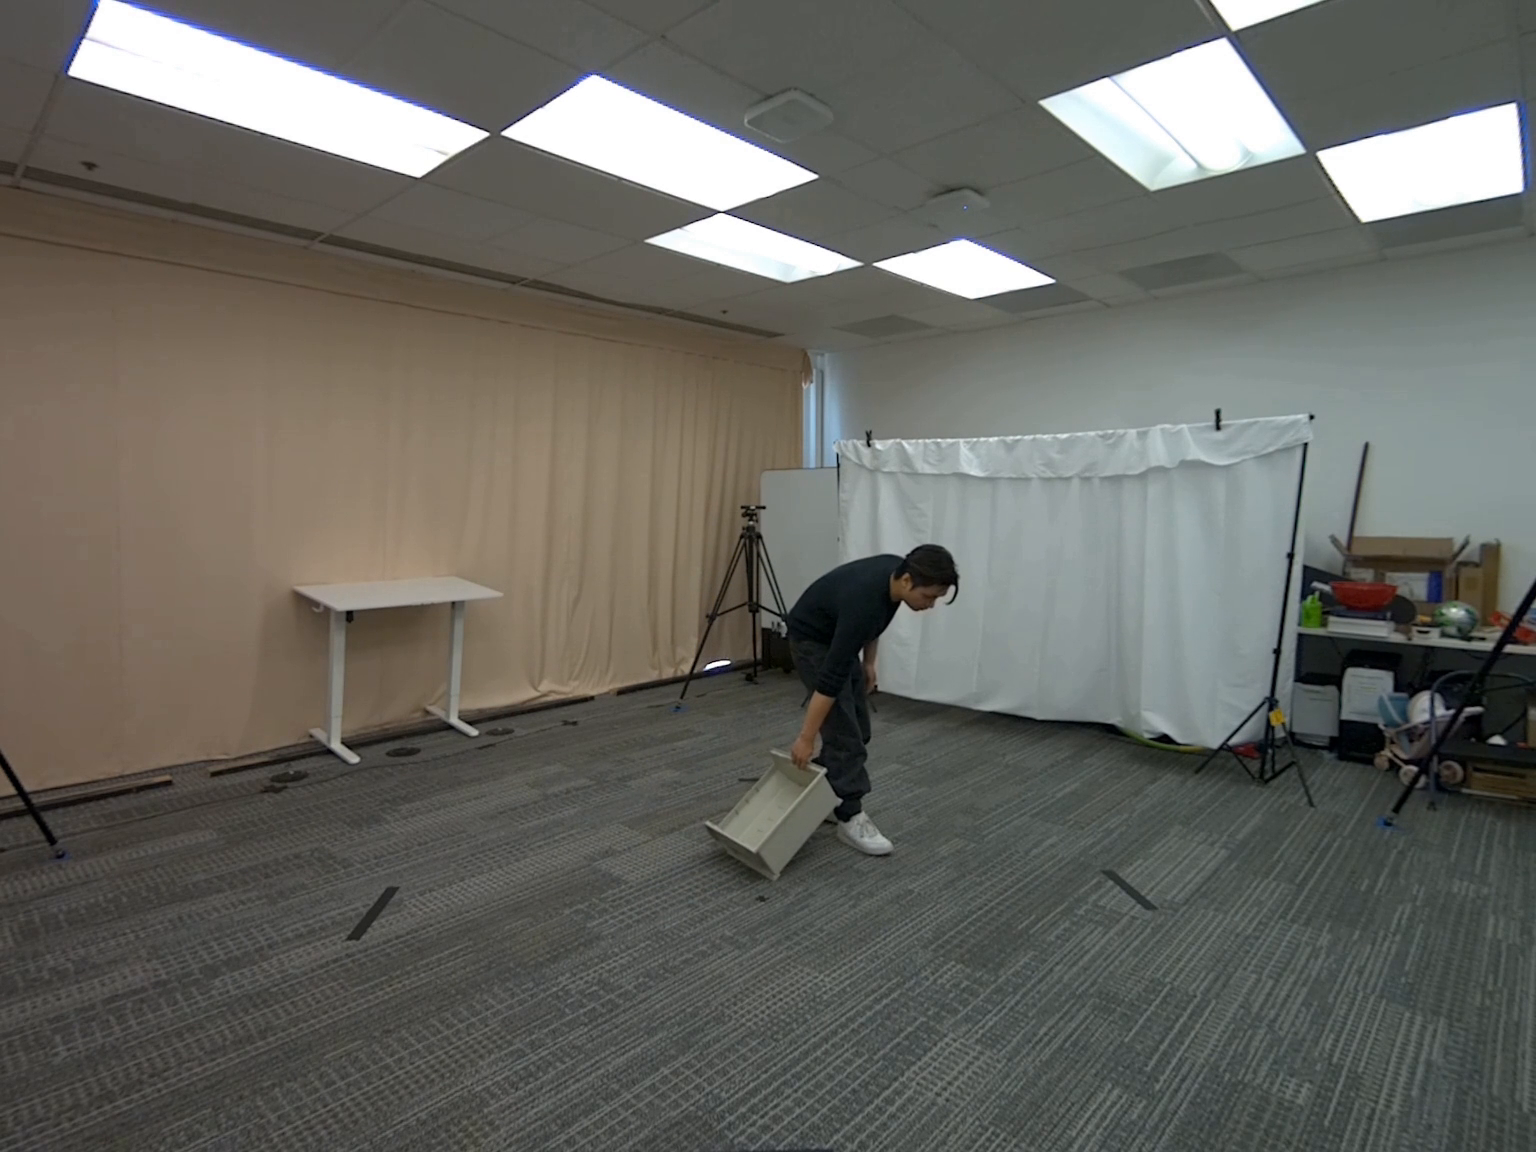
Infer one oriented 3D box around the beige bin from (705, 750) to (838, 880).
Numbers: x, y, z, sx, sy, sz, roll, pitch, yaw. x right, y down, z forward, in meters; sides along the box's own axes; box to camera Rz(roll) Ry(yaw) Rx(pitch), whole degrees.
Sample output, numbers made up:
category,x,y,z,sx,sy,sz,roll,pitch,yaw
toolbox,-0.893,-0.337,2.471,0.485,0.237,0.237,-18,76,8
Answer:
category,x,y,z,sx,sy,sz,roll,pitch,yaw
beige bin,0.009,0.921,3.317,0.418,0.184,0.390,-42,28,-25
